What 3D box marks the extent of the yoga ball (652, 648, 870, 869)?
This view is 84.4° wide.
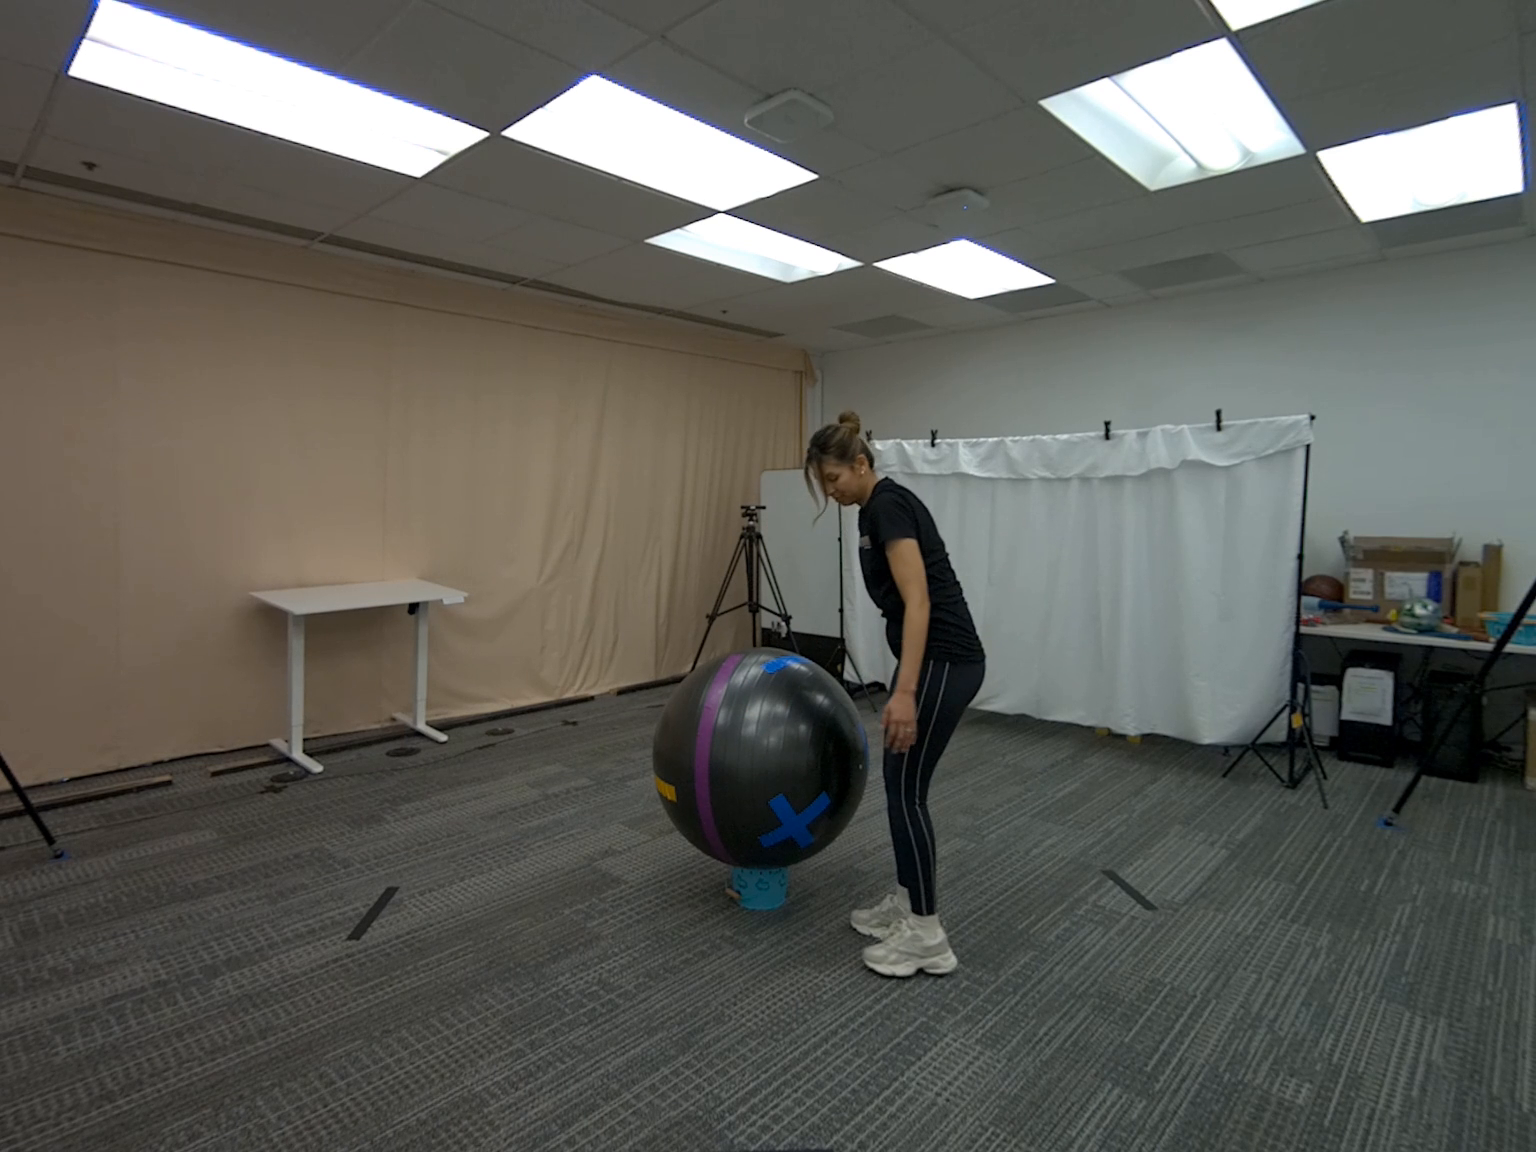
[{"bbox_3d":[-0.028,0.636,2.974,0.757,0.756,0.760,0,4,-2],"label":"yoga ball"}]
